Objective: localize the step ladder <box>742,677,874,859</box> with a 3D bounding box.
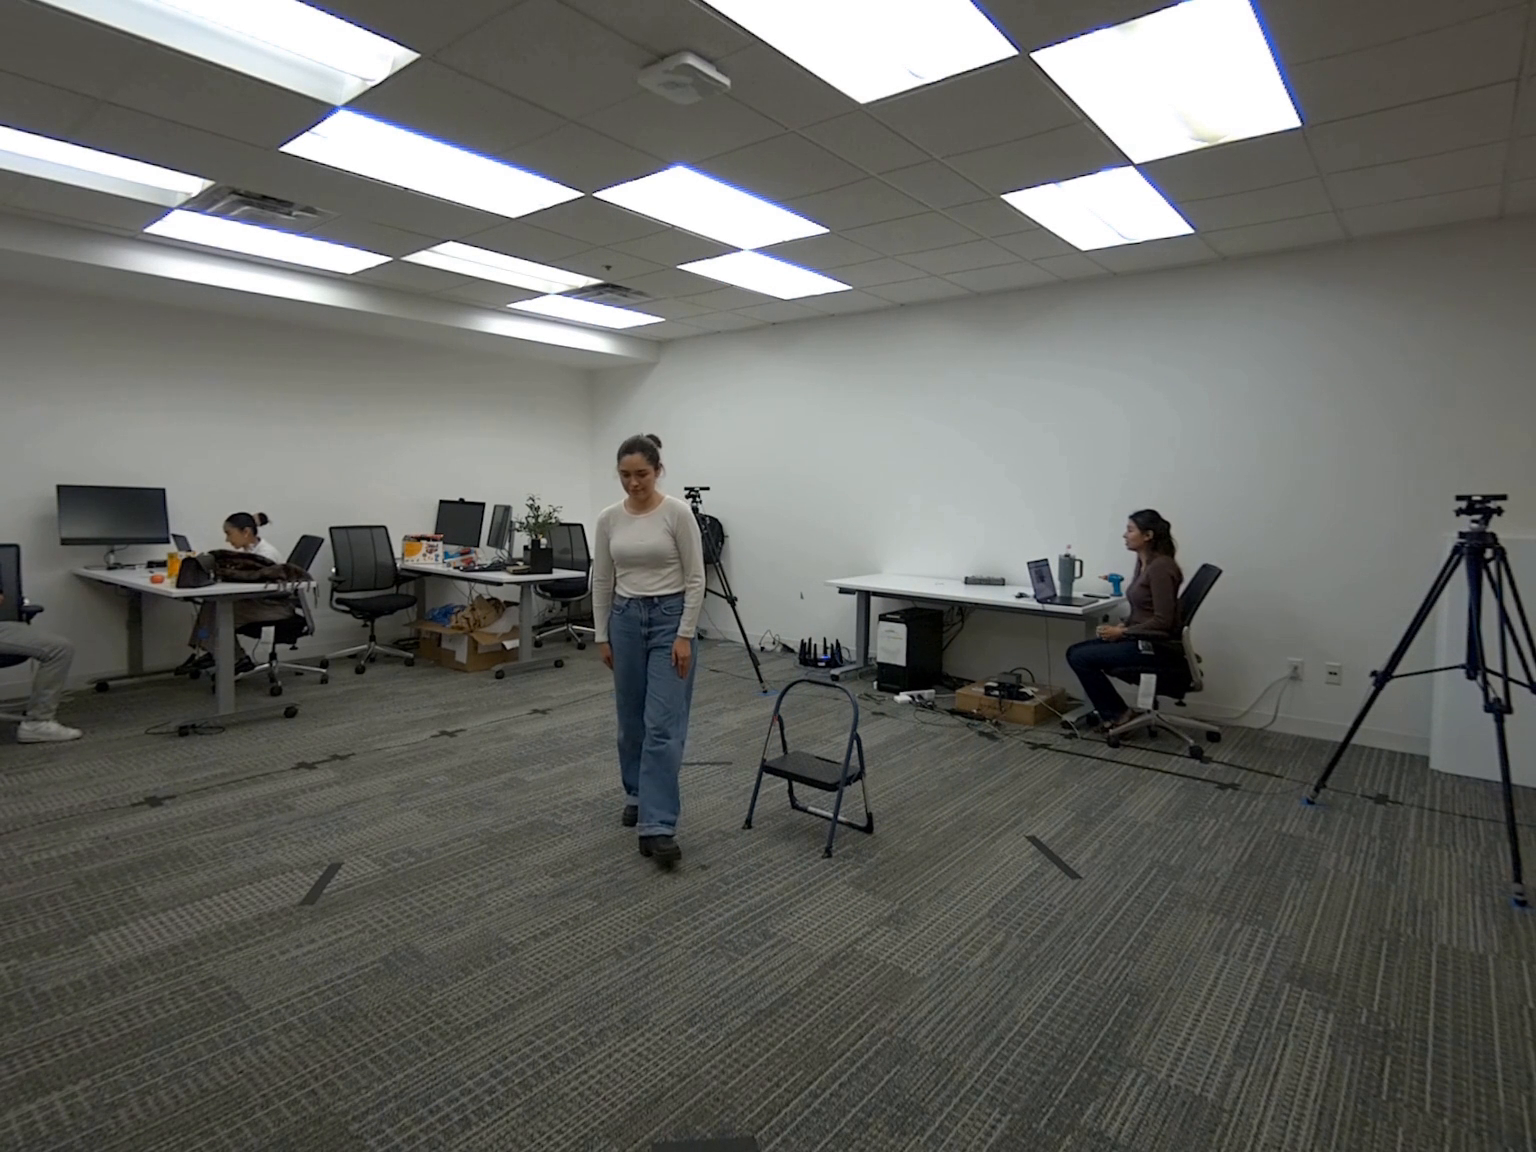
[{"bbox_3d":[0.167,0.738,3.459,0.445,0.604,0.339,4,5,39],"label":"step ladder"}]
